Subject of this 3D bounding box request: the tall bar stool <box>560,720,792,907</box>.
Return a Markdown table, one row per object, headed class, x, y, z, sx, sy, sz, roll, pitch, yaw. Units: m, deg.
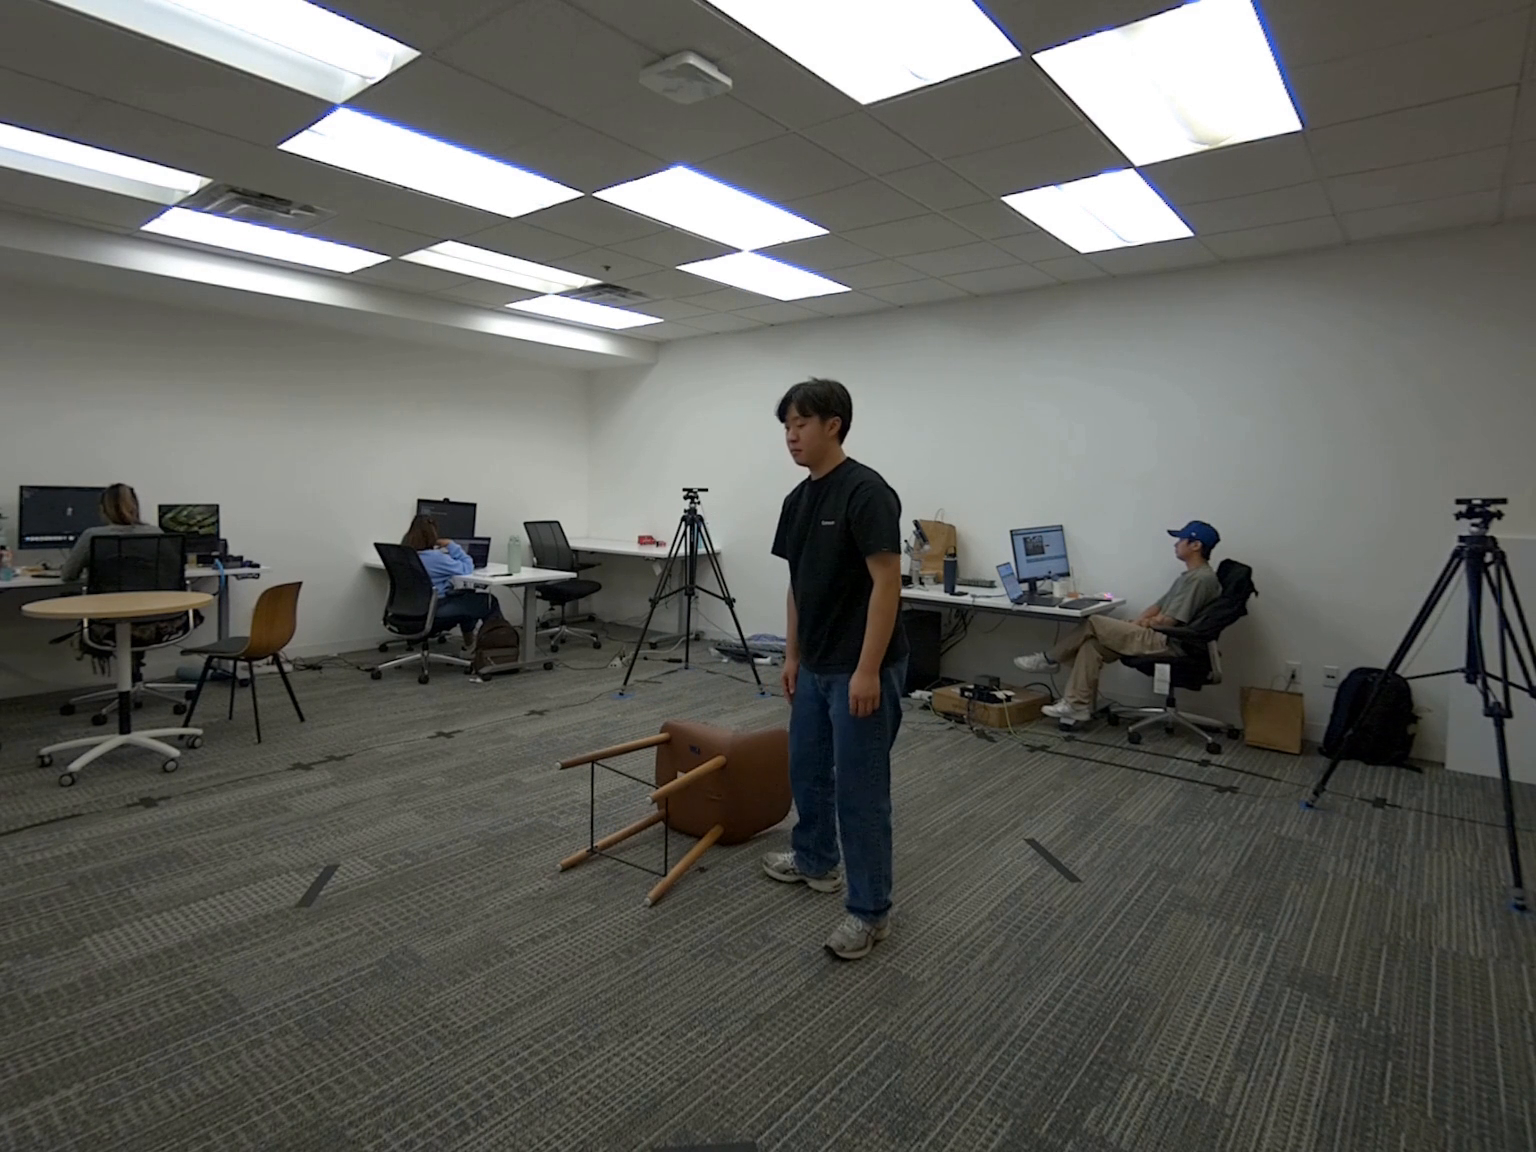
| class | x | y | z | sx | sy | sz | roll | pitch | yaw |
| --- | --- | --- | --- | --- | --- | --- | --- | --- | --- |
| tall bar stool | -0.345 | 0.834 | 3.272 | 0.483 | 0.454 | 0.866 | 5 | 9 | 35 |
